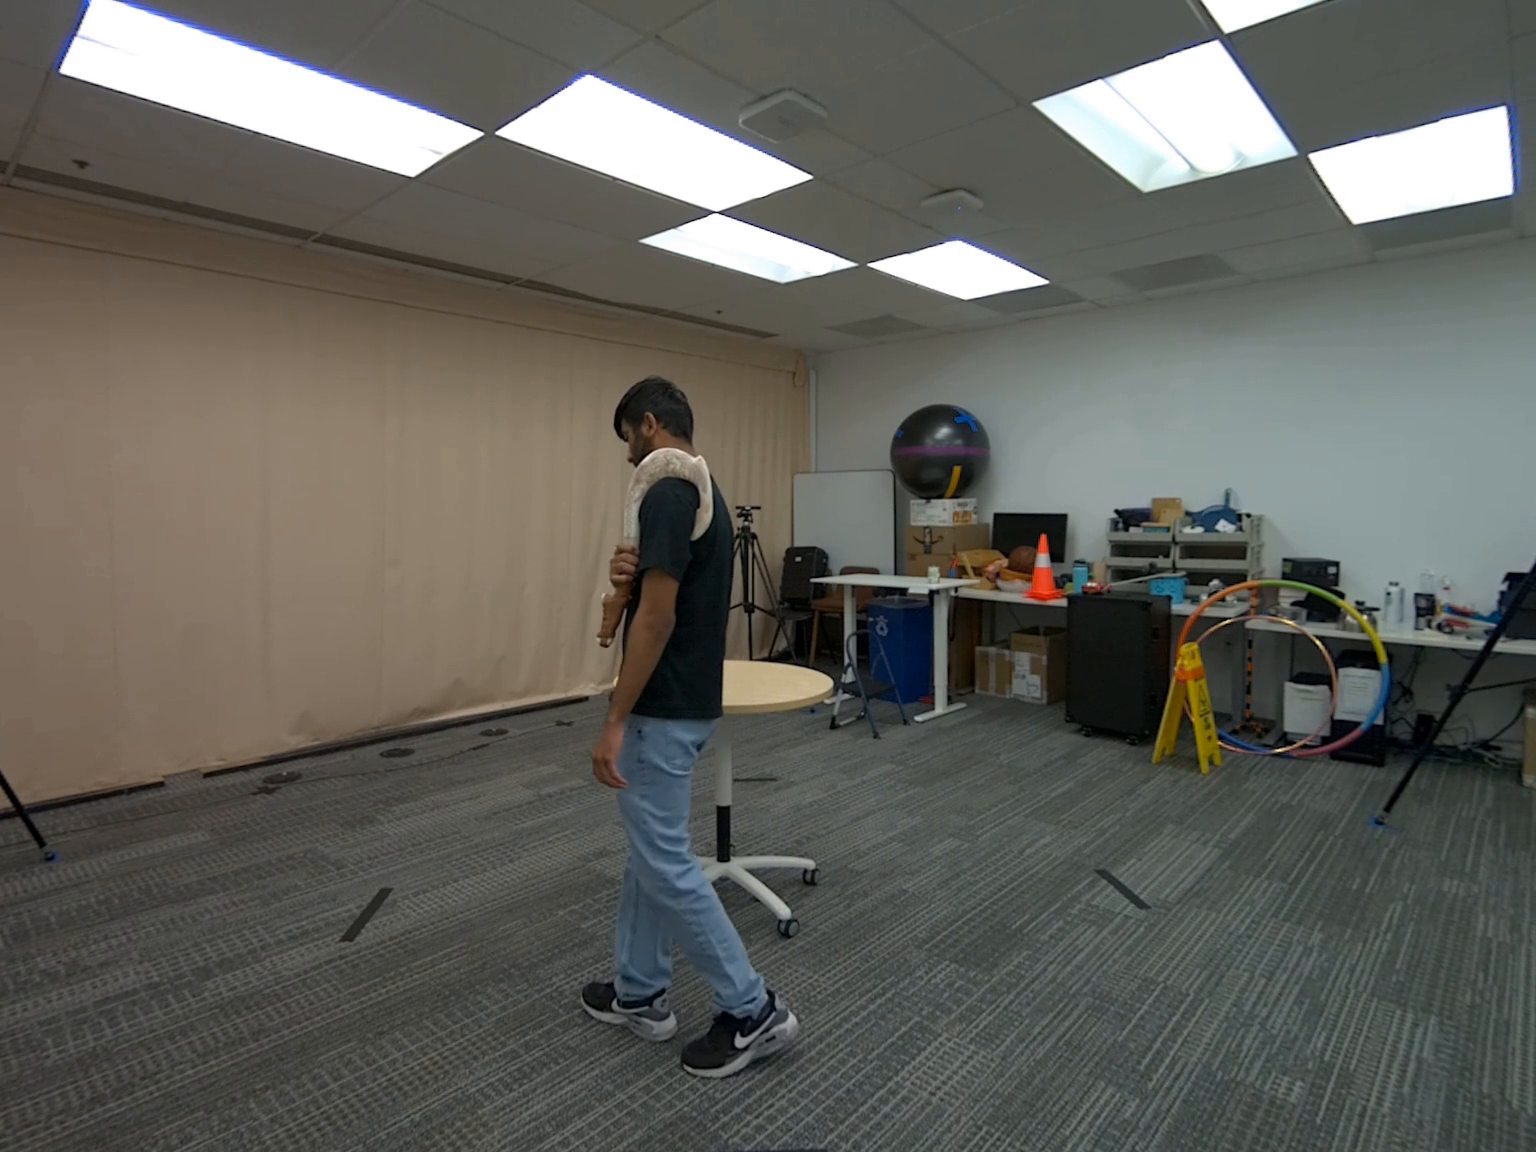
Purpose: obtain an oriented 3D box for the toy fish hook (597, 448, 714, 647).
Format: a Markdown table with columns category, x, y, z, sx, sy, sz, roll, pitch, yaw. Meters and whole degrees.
| category | x | y | z | sx | sy | sz | roll | pitch | yaw |
| --- | --- | --- | --- | --- | --- | --- | --- | --- | --- |
| toy fish hook | -0.269 | -0.049 | 2.021 | 0.230 | 0.506 | 0.047 | 18 | 3 | 22 |
